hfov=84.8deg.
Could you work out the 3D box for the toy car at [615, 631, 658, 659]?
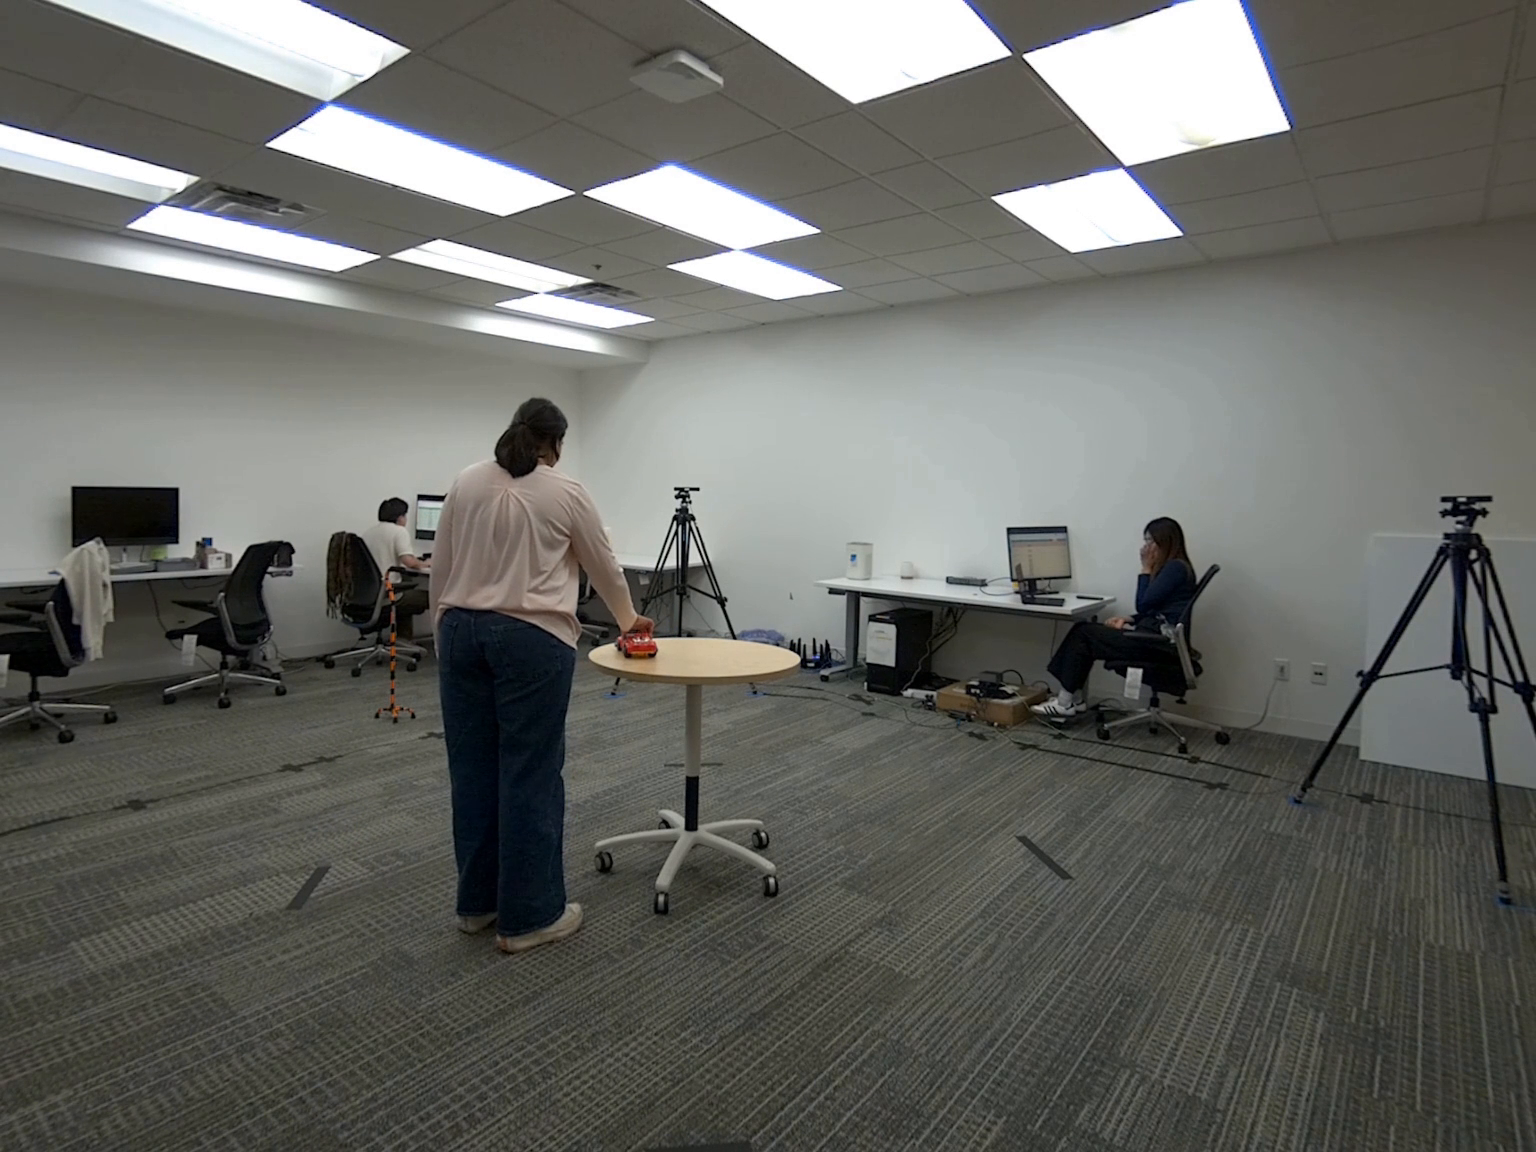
[{"bbox_3d":[-0.480,0.251,3.065,0.128,0.084,0.257,0,-6,-18],"label":"toy car"}]
